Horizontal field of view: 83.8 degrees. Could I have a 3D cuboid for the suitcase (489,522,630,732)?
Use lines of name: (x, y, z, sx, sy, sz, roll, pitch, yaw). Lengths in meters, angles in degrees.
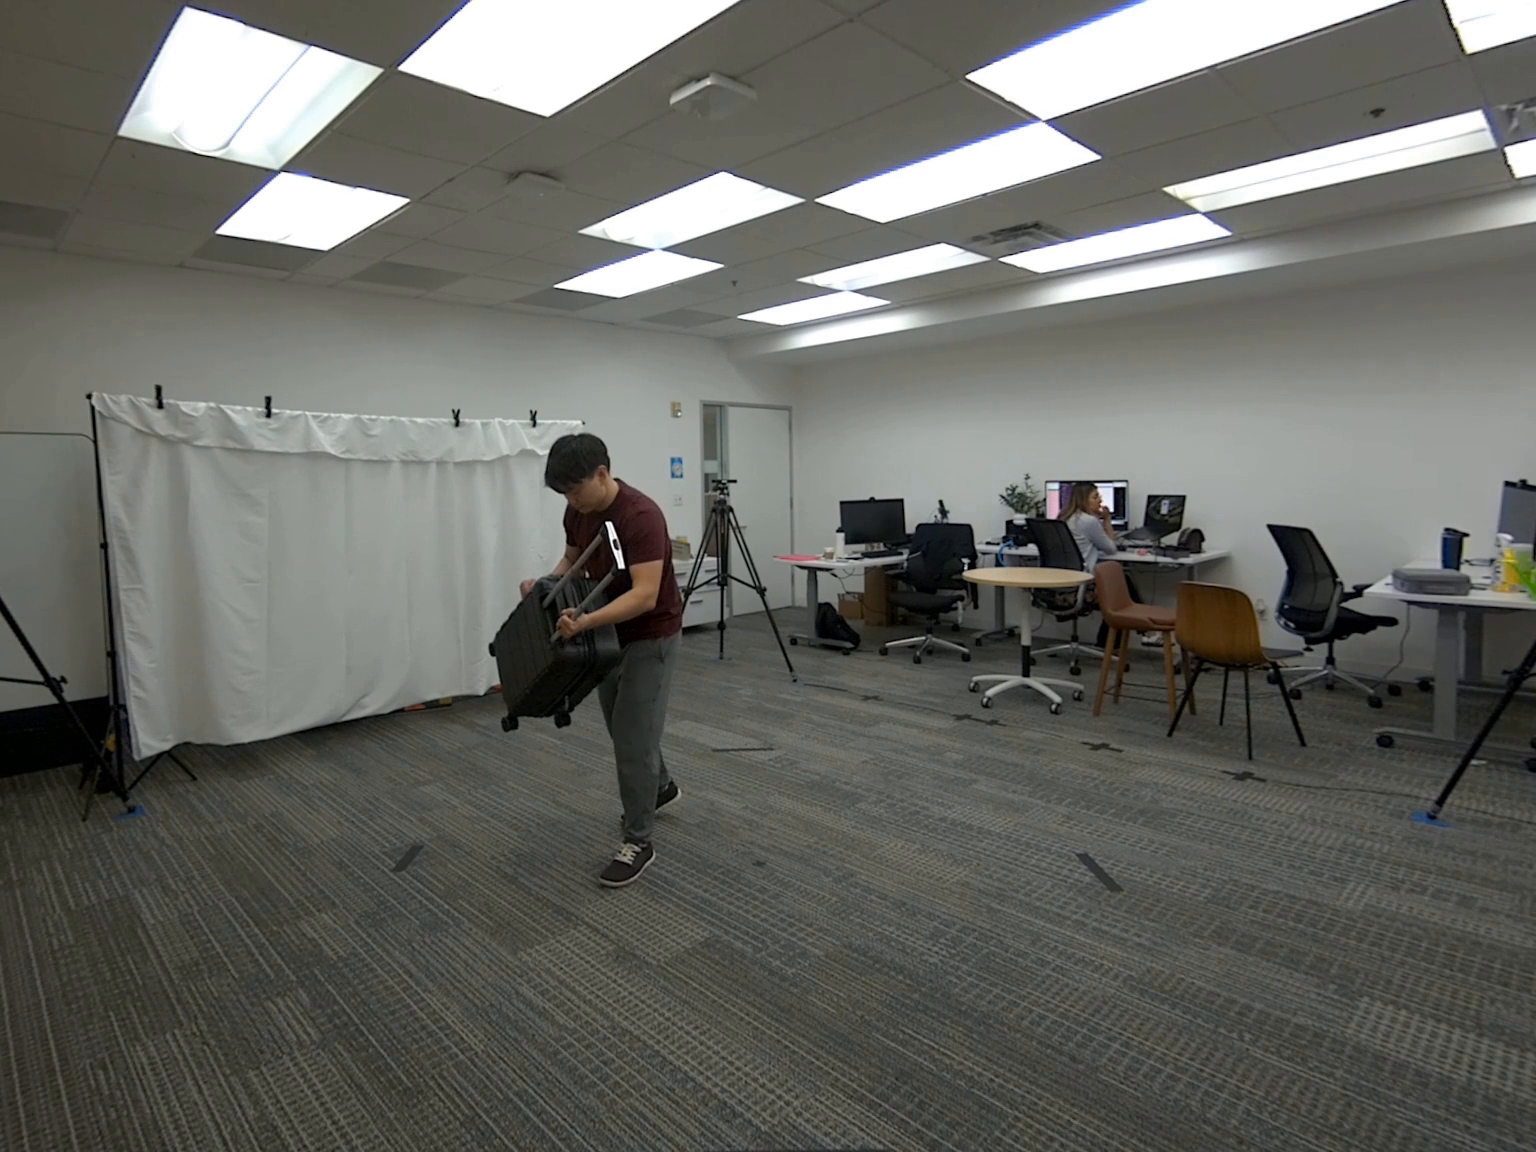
suitcase: (-0.645, 0.160, 2.853, 0.249, 0.395, 0.979, 6, -36, -36)
